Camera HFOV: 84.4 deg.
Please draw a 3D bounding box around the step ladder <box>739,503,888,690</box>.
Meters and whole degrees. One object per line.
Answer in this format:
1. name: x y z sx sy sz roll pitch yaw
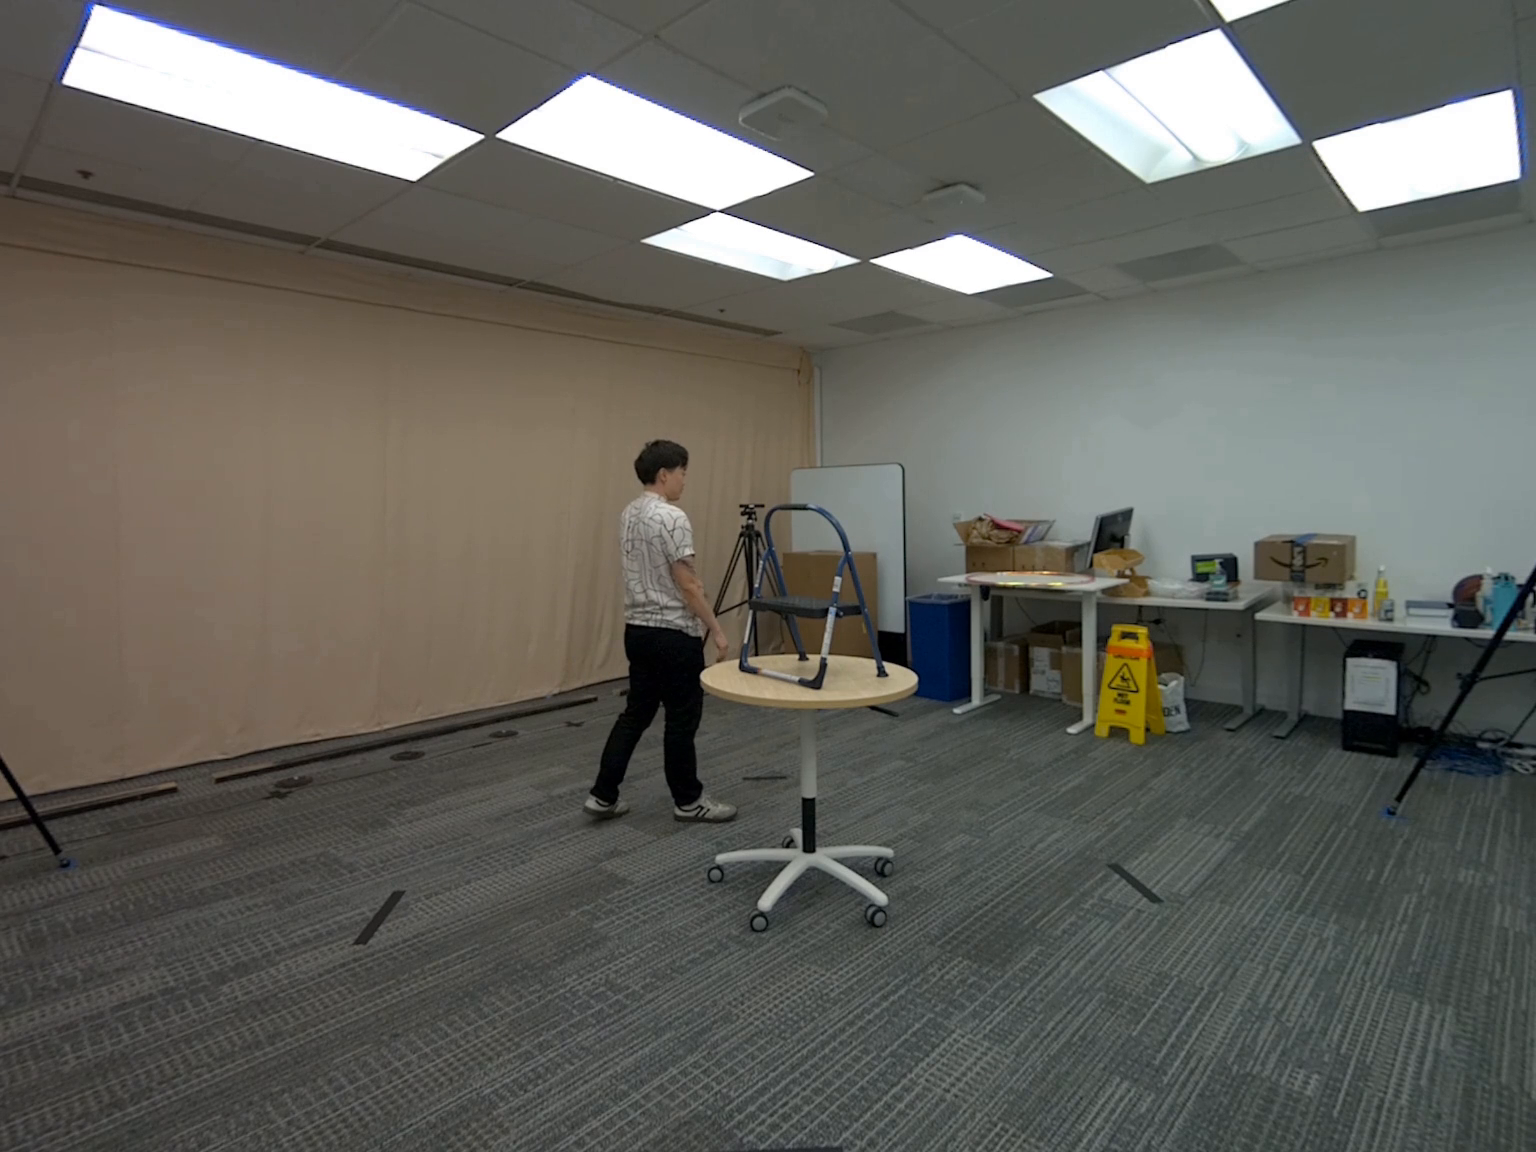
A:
1. step ladder: 0.156 0.048 3.003 0.338 0.605 0.445 -3 4 -41
